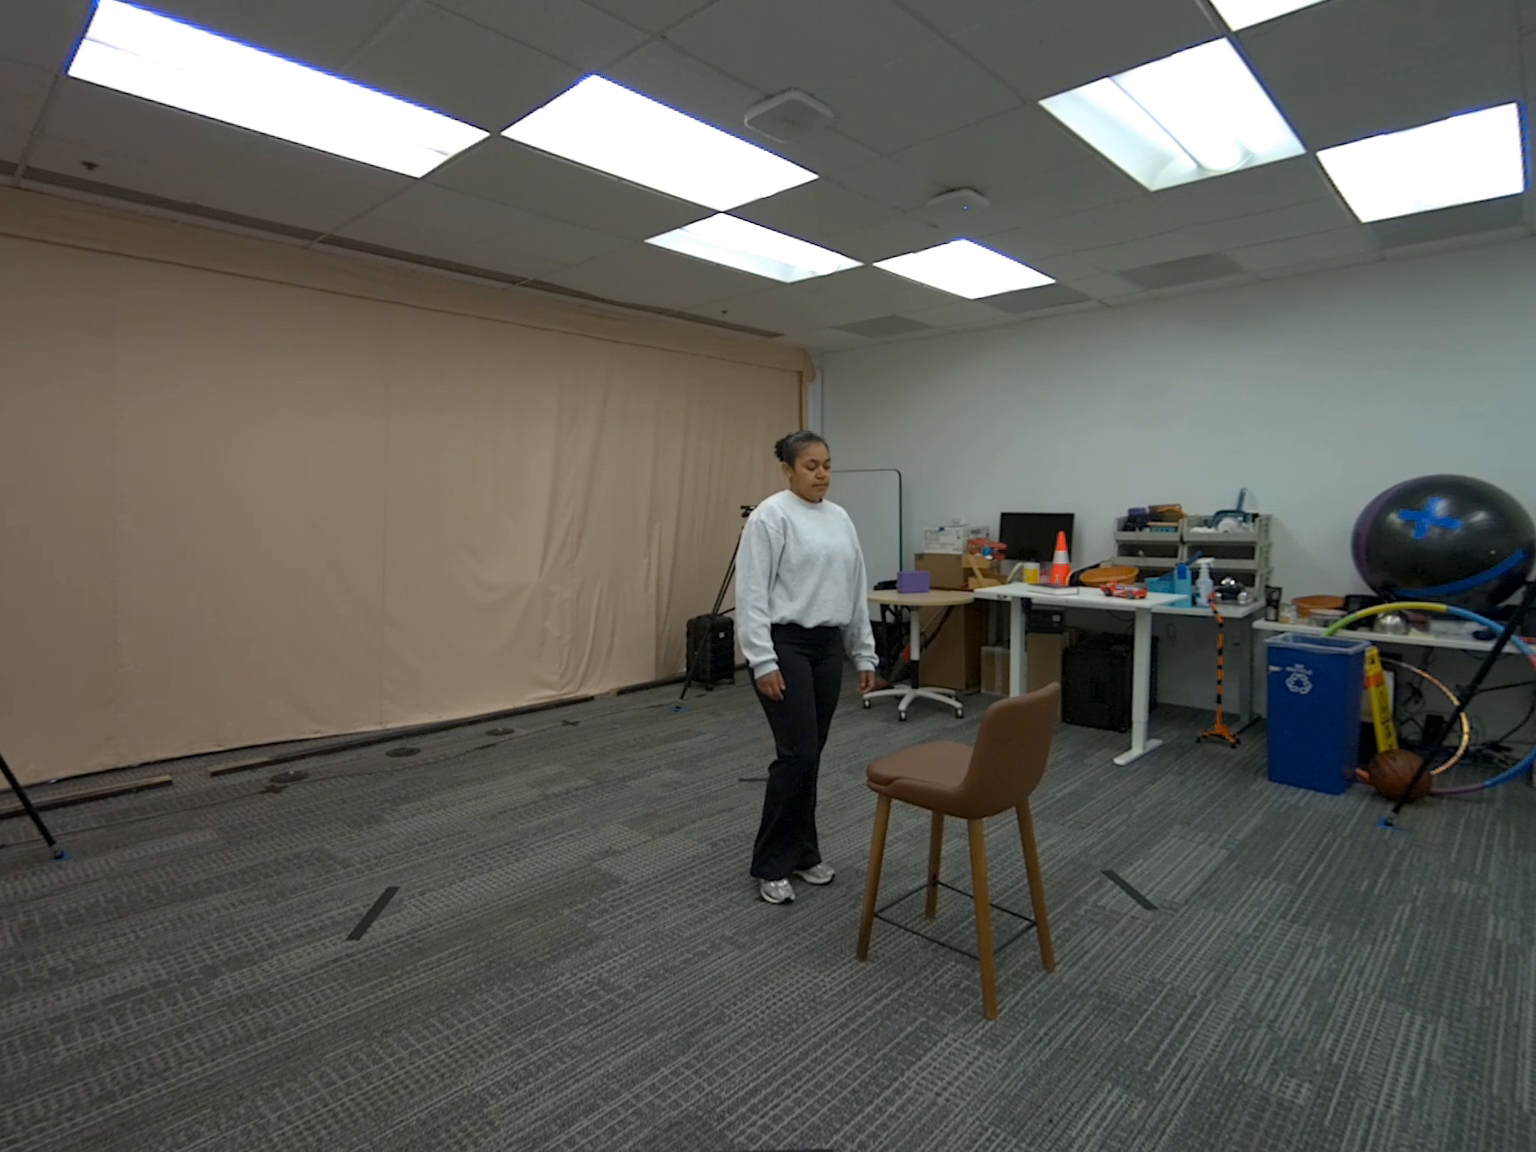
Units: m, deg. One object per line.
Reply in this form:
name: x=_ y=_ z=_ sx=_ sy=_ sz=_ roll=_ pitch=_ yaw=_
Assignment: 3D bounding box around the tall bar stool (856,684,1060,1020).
tall bar stool: x=0.580 y=0.740 z=2.534 sx=0.442 sy=0.887 sz=0.484 roll=-4 pitch=7 yaw=-44
